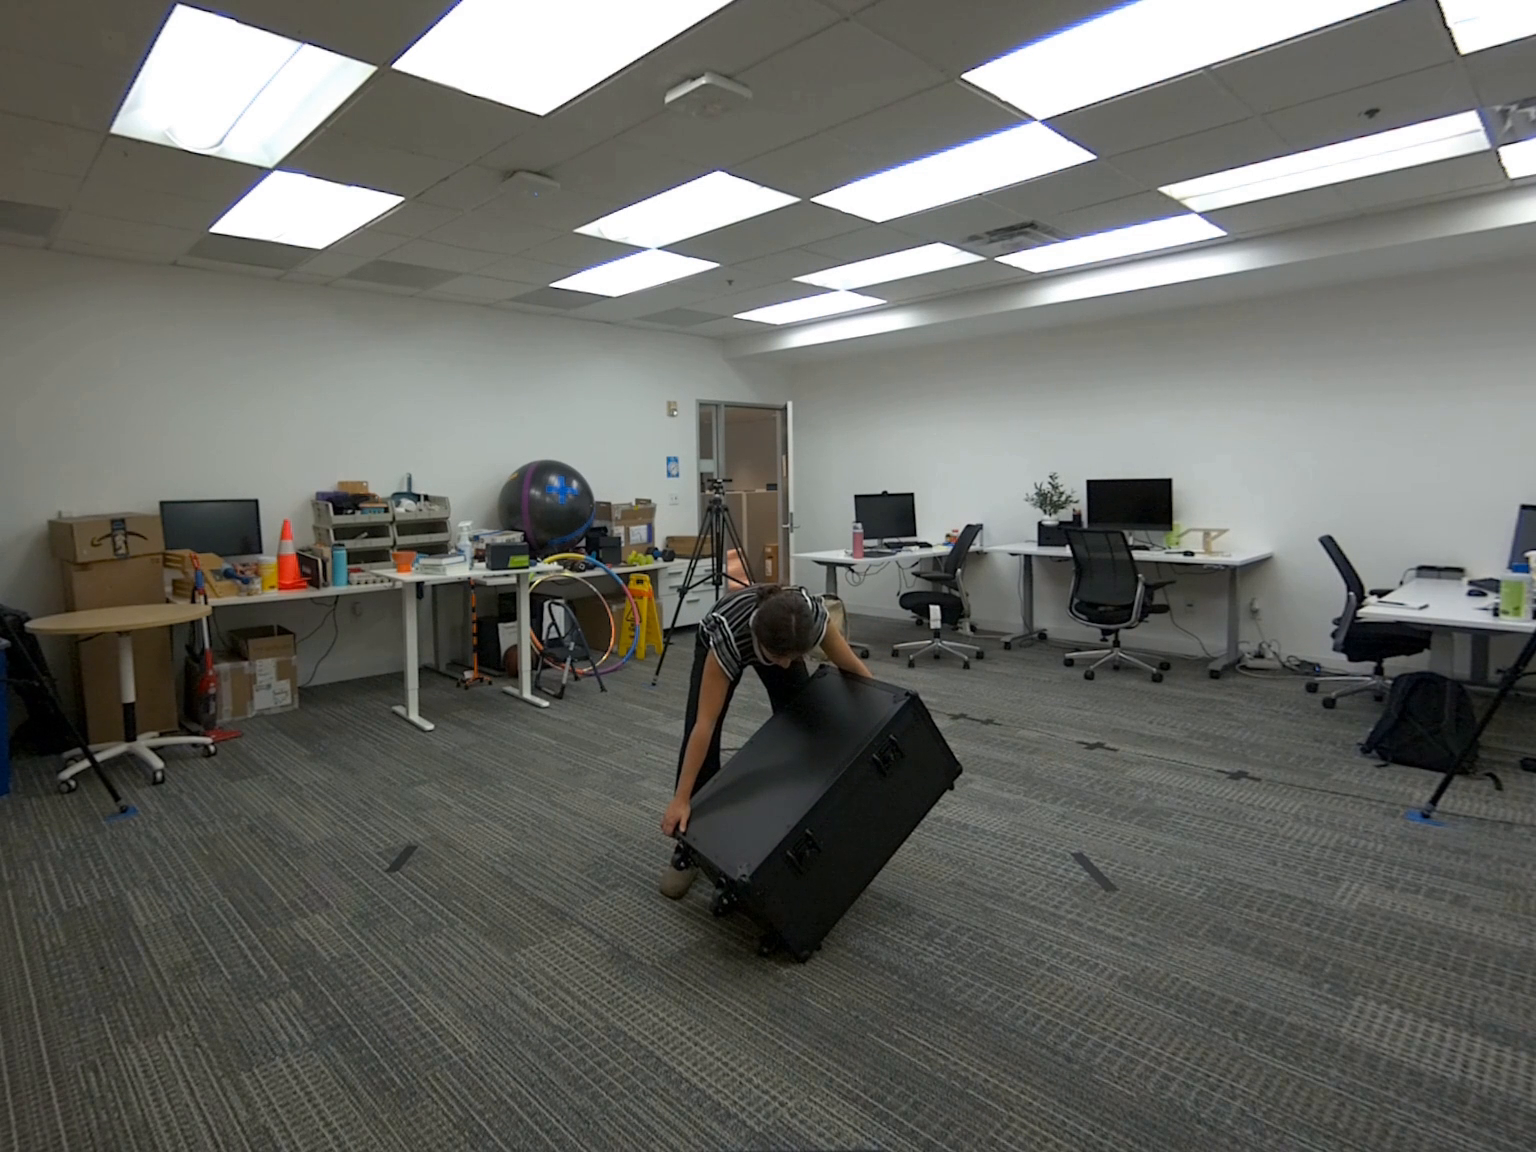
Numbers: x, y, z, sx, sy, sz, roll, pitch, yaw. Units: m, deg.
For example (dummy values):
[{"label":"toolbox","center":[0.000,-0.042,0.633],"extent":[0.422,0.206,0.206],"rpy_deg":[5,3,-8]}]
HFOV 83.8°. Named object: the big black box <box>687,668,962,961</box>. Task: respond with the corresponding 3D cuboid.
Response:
[{"label":"big black box","center":[0.143,0.745,2.729],"extent":[0.859,0.386,0.536],"rpy_deg":[-42,23,-22]}]
